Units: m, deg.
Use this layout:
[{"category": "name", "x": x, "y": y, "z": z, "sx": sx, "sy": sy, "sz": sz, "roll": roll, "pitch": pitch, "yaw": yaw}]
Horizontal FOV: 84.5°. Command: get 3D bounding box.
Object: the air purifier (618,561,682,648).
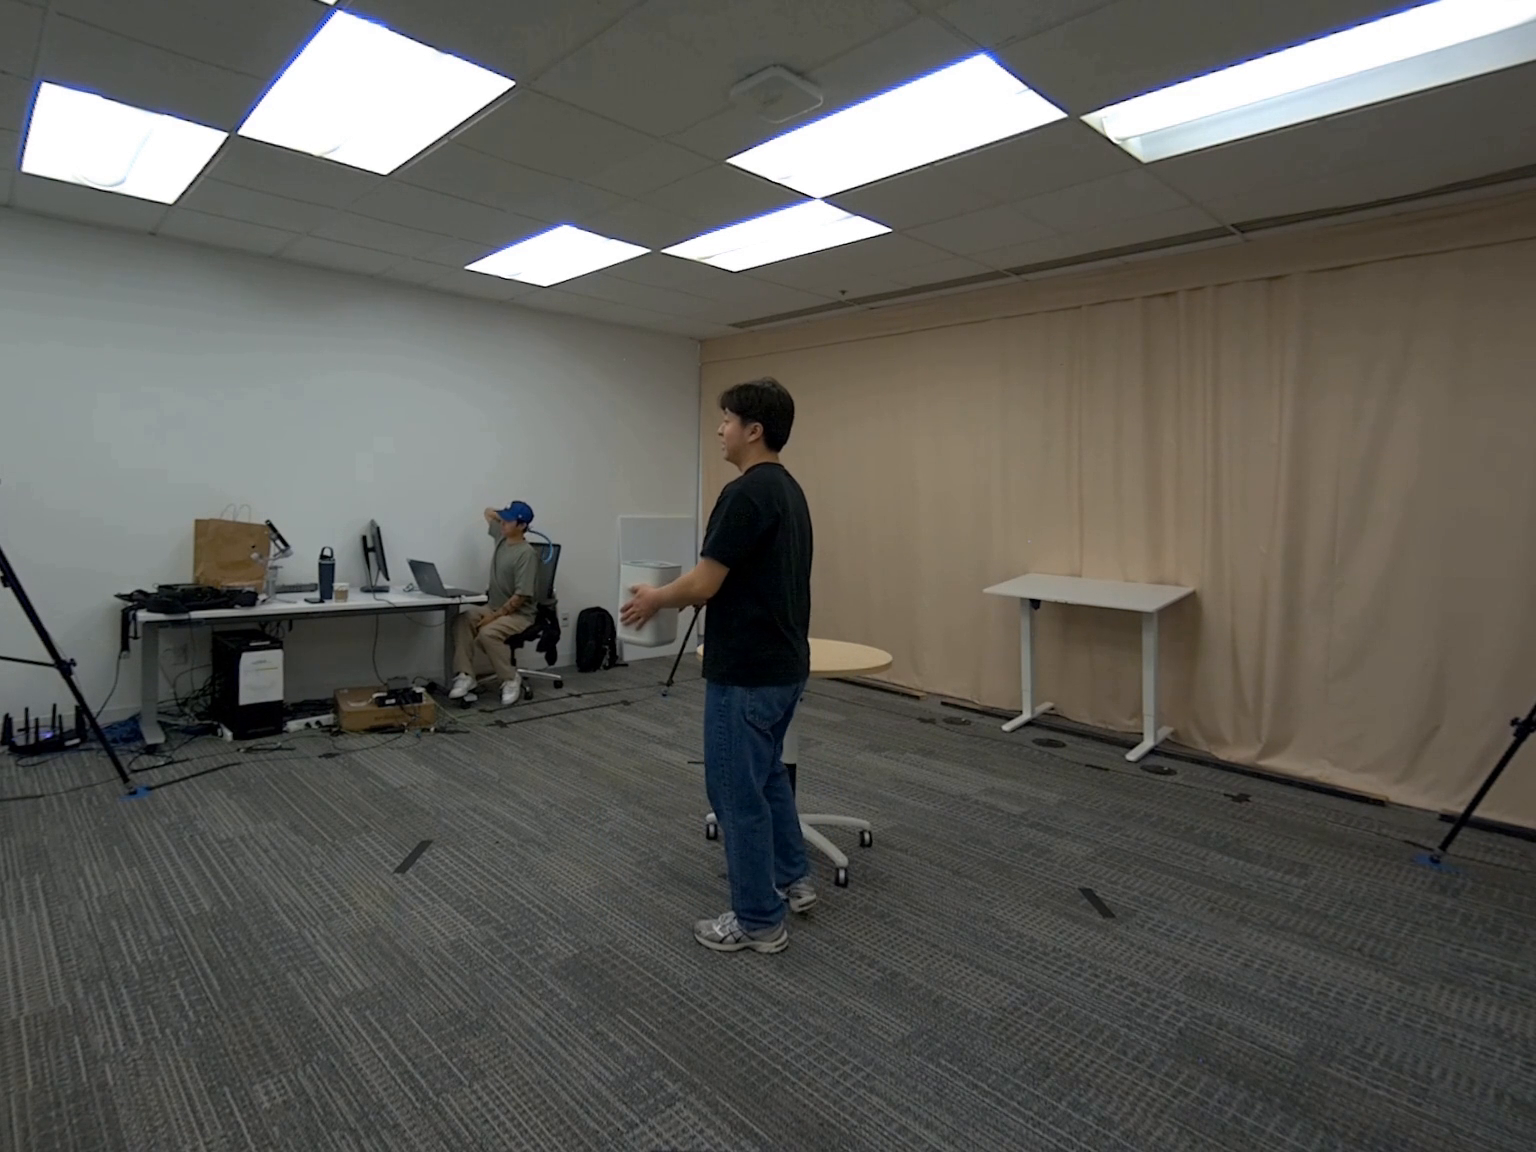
[{"category": "air purifier", "x": -0.389, "y": 0.088, "z": 2.766, "sx": 0.175, "sy": 0.265, "sz": 0.168, "roll": 6, "pitch": 4, "yaw": 25}]
